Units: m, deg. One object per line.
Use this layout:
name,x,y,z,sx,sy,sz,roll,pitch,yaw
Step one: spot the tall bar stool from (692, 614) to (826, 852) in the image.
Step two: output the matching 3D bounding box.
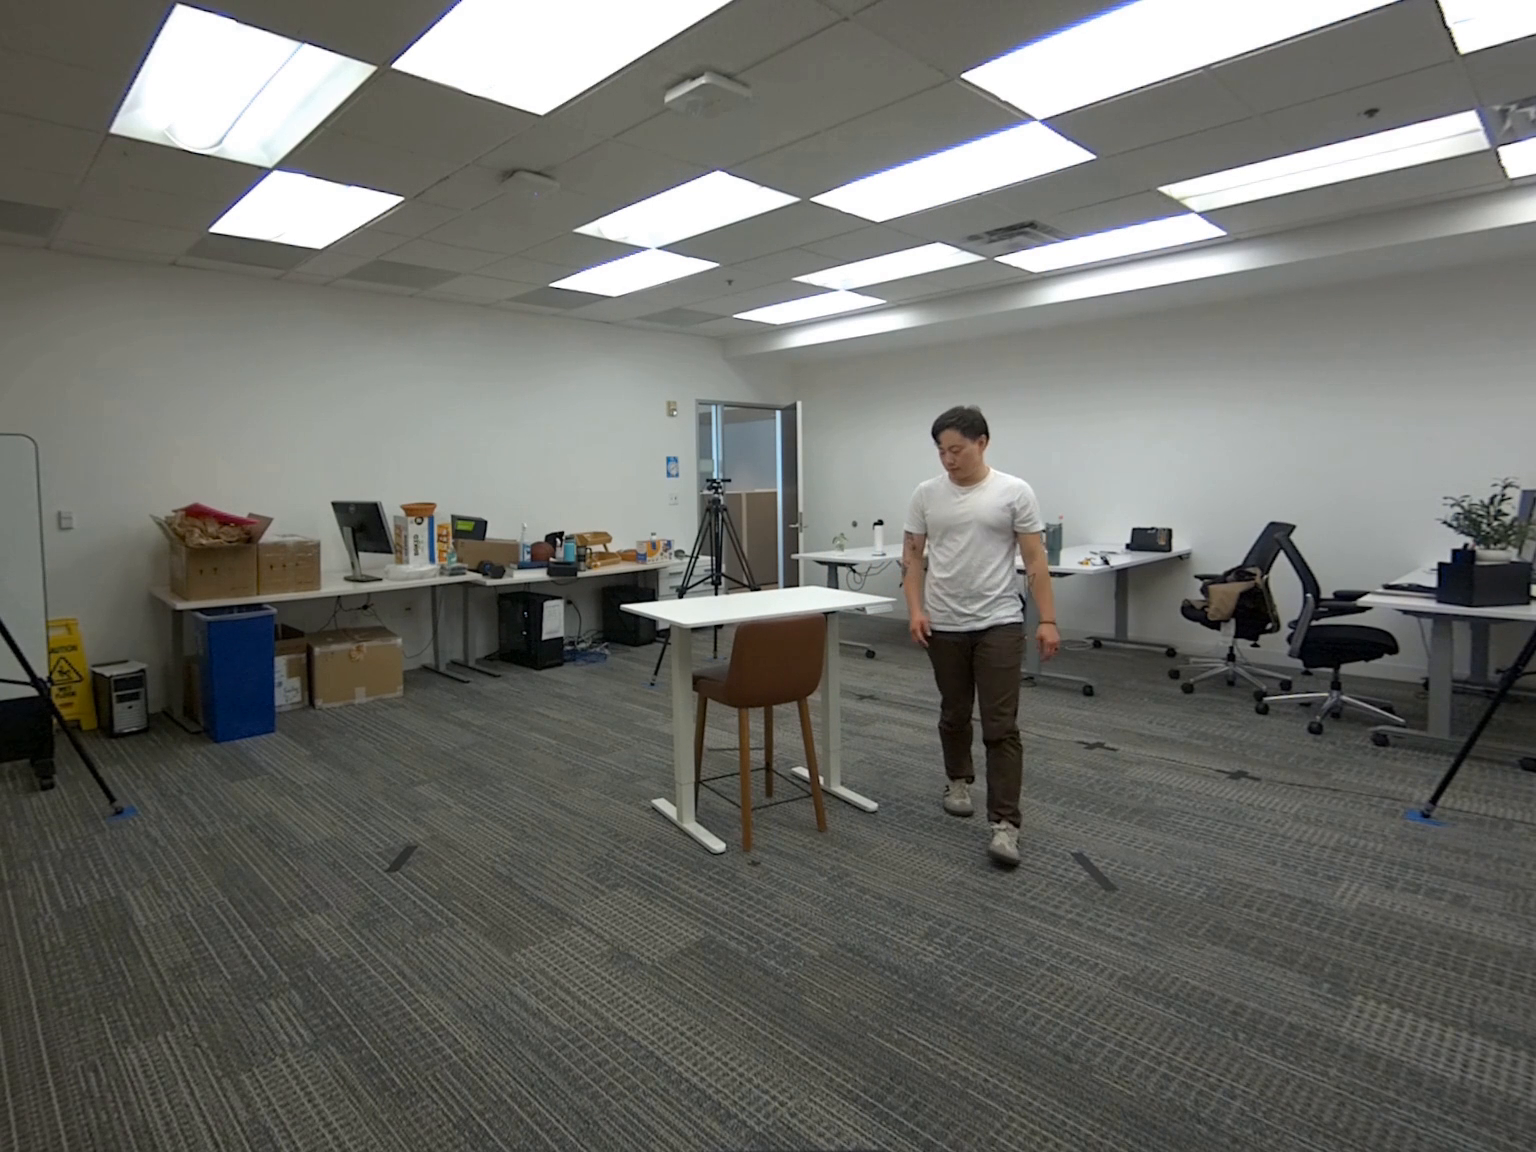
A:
tall bar stool,-0.042,0.575,3.451,0.445,0.886,0.481,-2,6,-32
